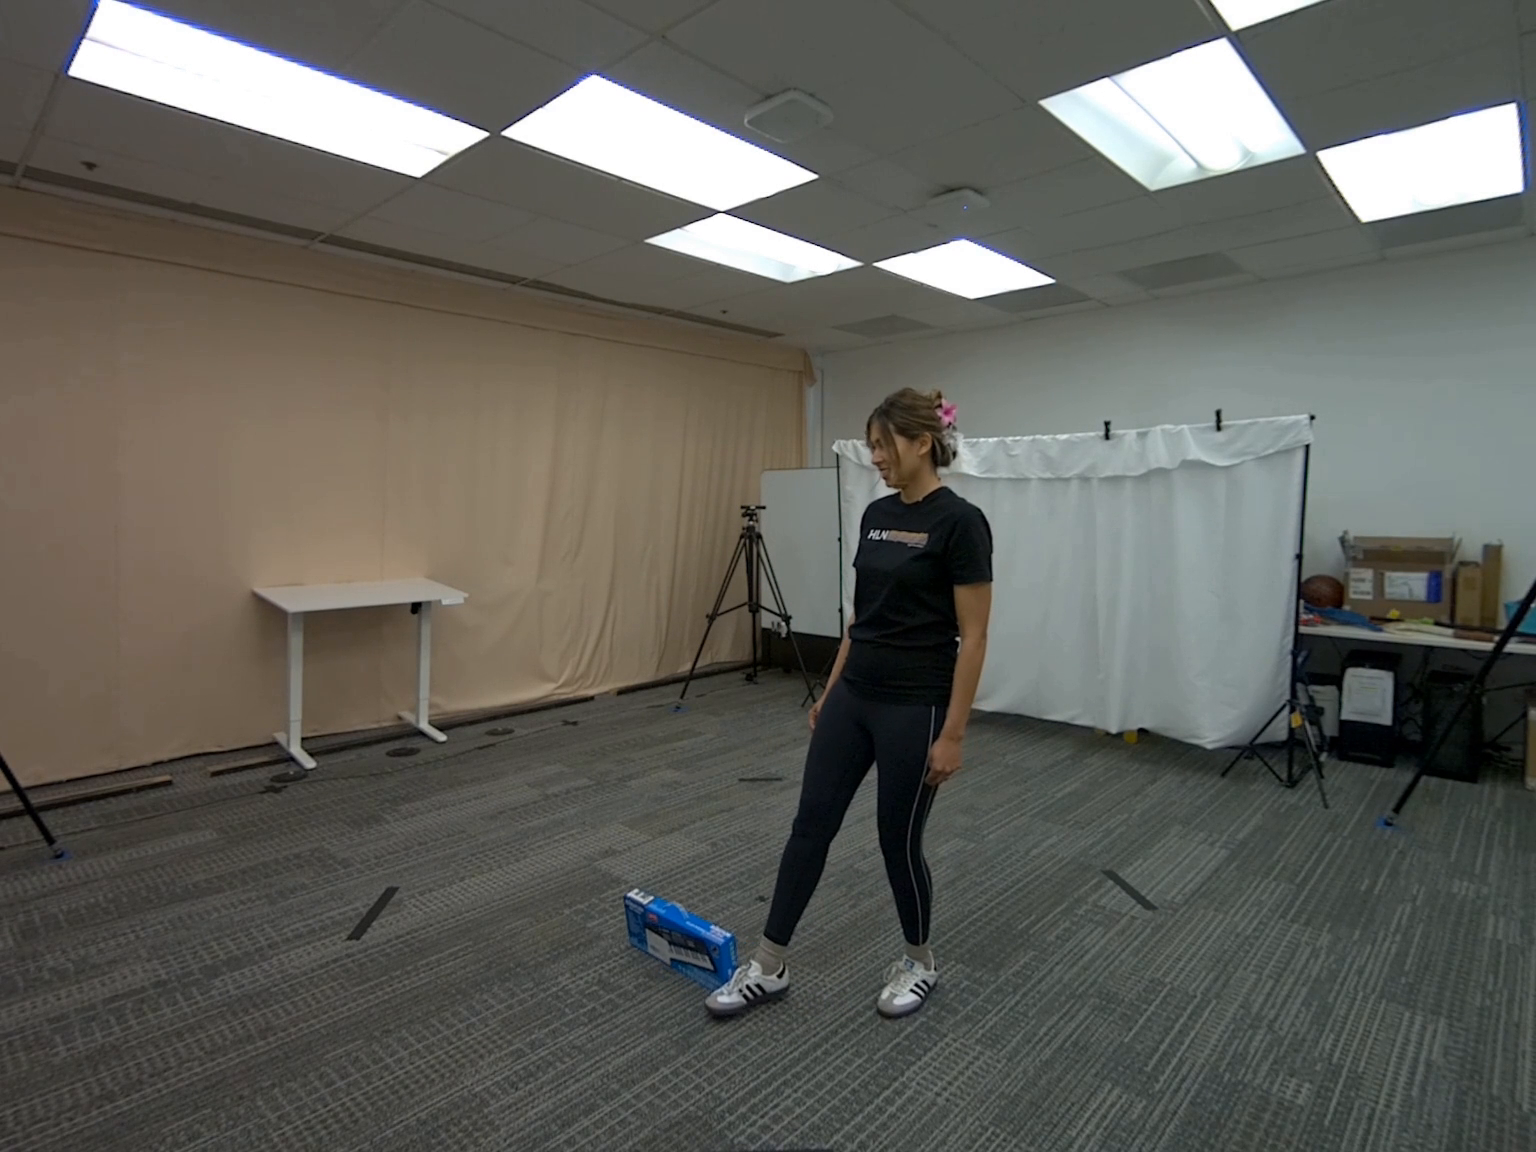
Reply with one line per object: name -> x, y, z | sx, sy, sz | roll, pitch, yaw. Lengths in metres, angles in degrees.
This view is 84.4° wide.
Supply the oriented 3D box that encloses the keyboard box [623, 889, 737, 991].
keyboard box -> -0.265, 1.098, 2.527 | 0.451, 0.175, 0.057 | 4, 13, 43
